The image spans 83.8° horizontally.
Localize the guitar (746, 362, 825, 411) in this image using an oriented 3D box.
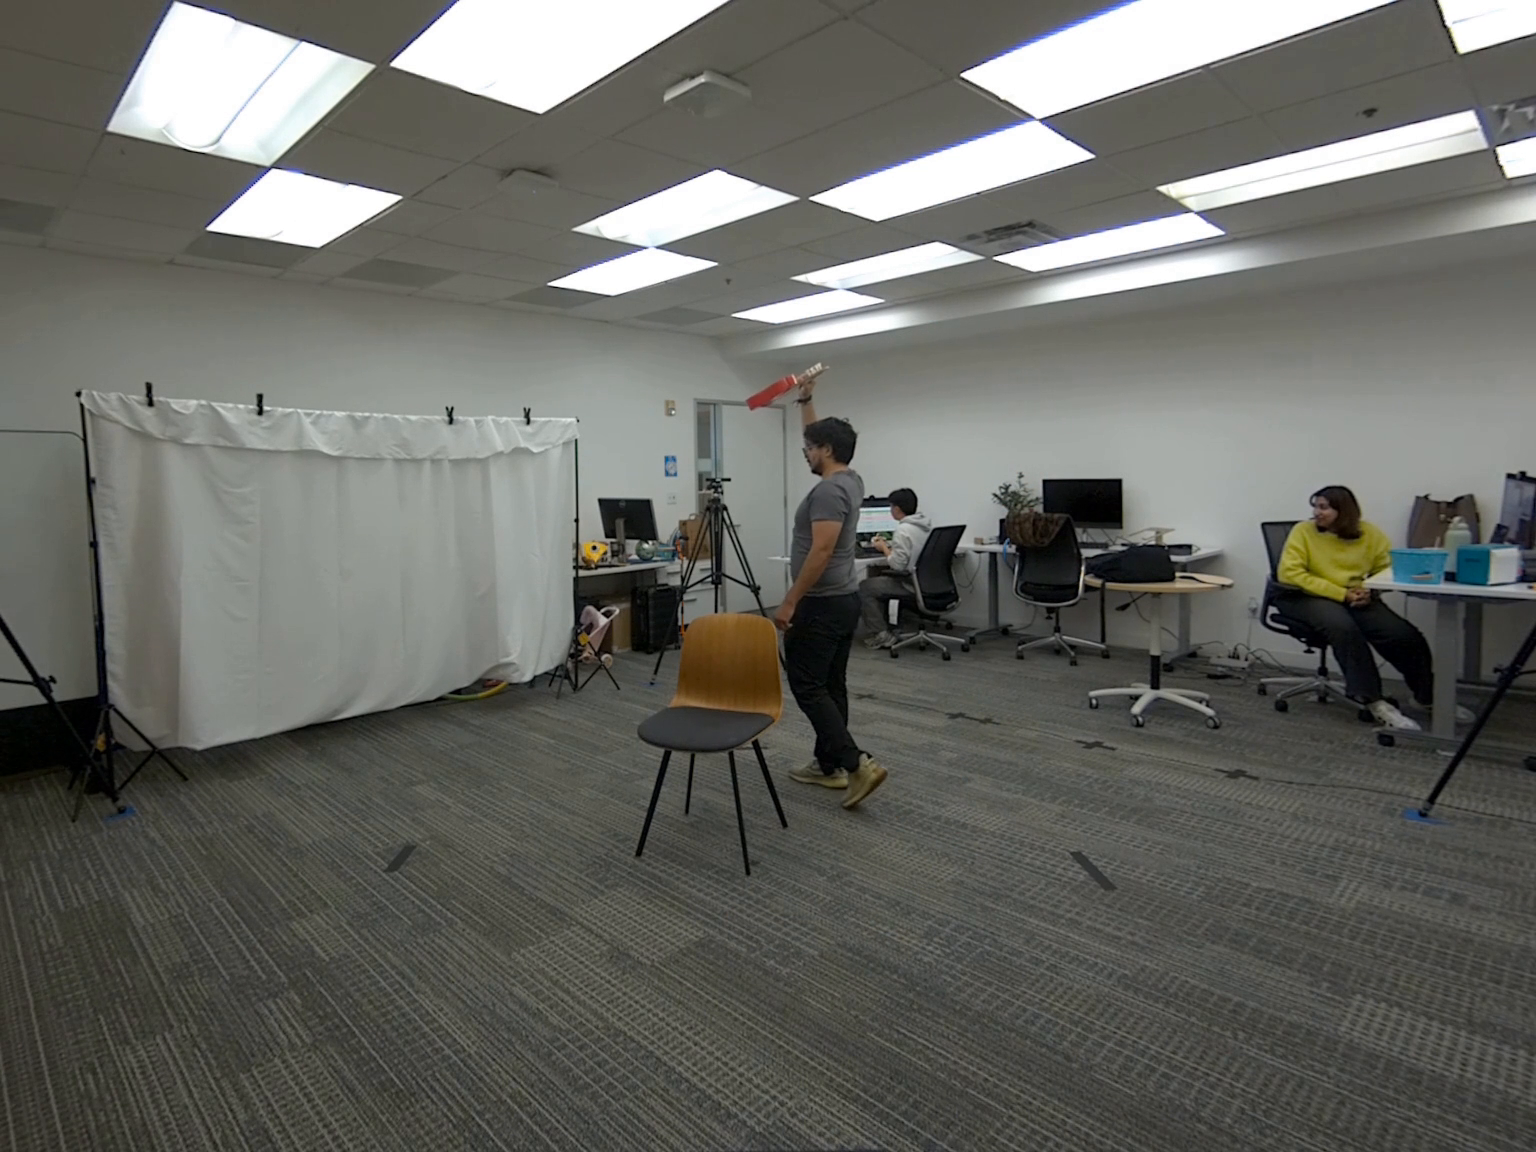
[{"bbox_3d":[0.117,-0.915,4.048,0.506,0.070,0.191,-21,8,42],"label":"guitar"}]
